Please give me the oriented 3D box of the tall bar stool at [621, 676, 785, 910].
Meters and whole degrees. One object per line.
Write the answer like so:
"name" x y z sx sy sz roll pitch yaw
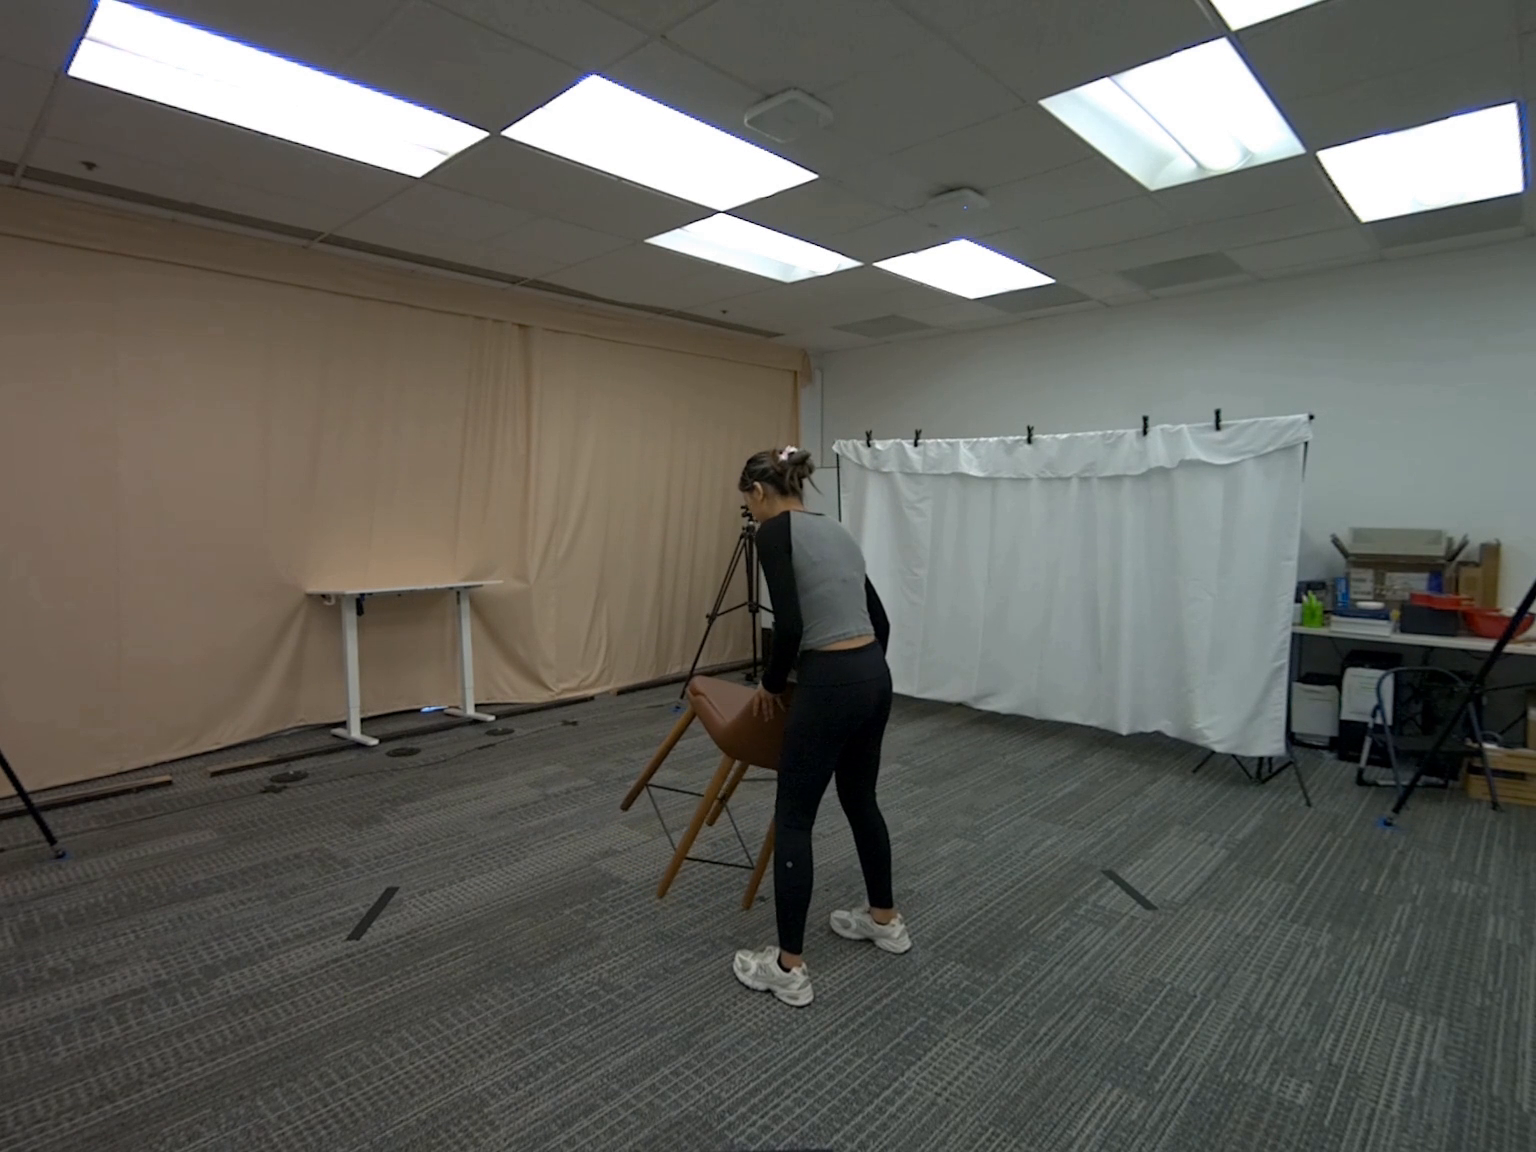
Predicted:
"tall bar stool" -0.095 0.636 2.897 0.442 0.889 0.483 20 18 -30
